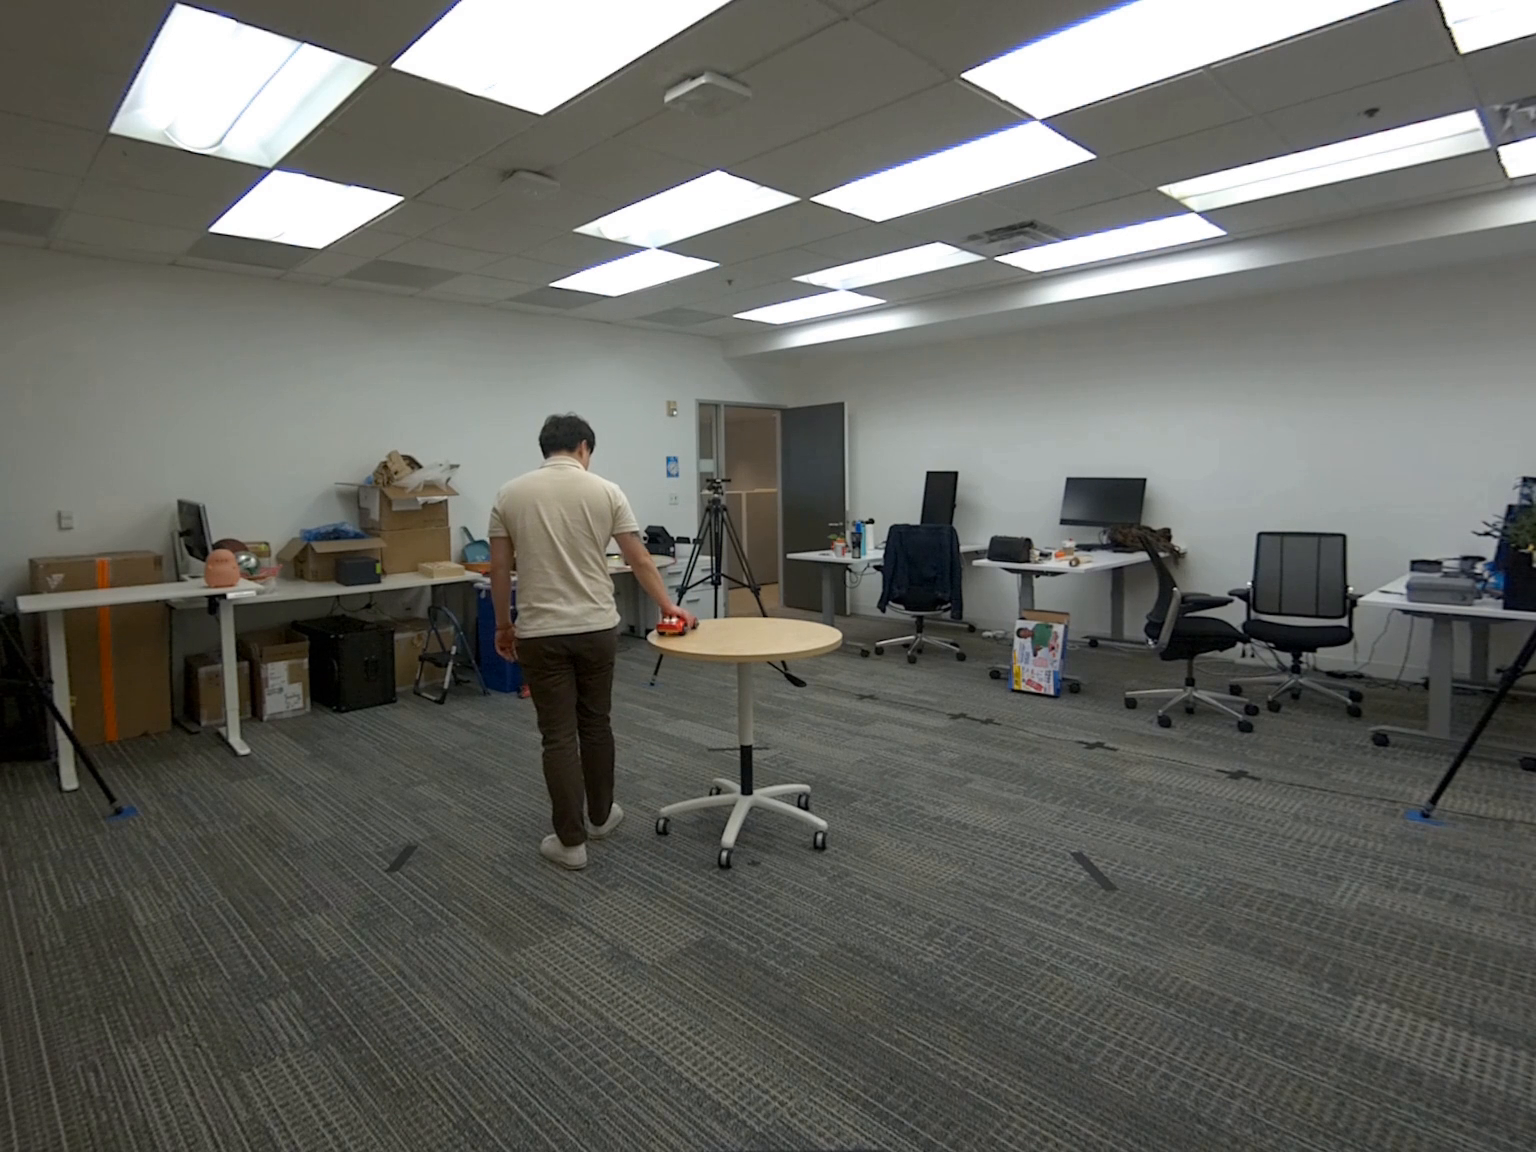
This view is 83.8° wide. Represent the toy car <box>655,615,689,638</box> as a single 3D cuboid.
[{"bbox_3d":[-0.368,0.195,3.430,0.132,0.083,0.250,2,-4,13],"label":"toy car"}]
